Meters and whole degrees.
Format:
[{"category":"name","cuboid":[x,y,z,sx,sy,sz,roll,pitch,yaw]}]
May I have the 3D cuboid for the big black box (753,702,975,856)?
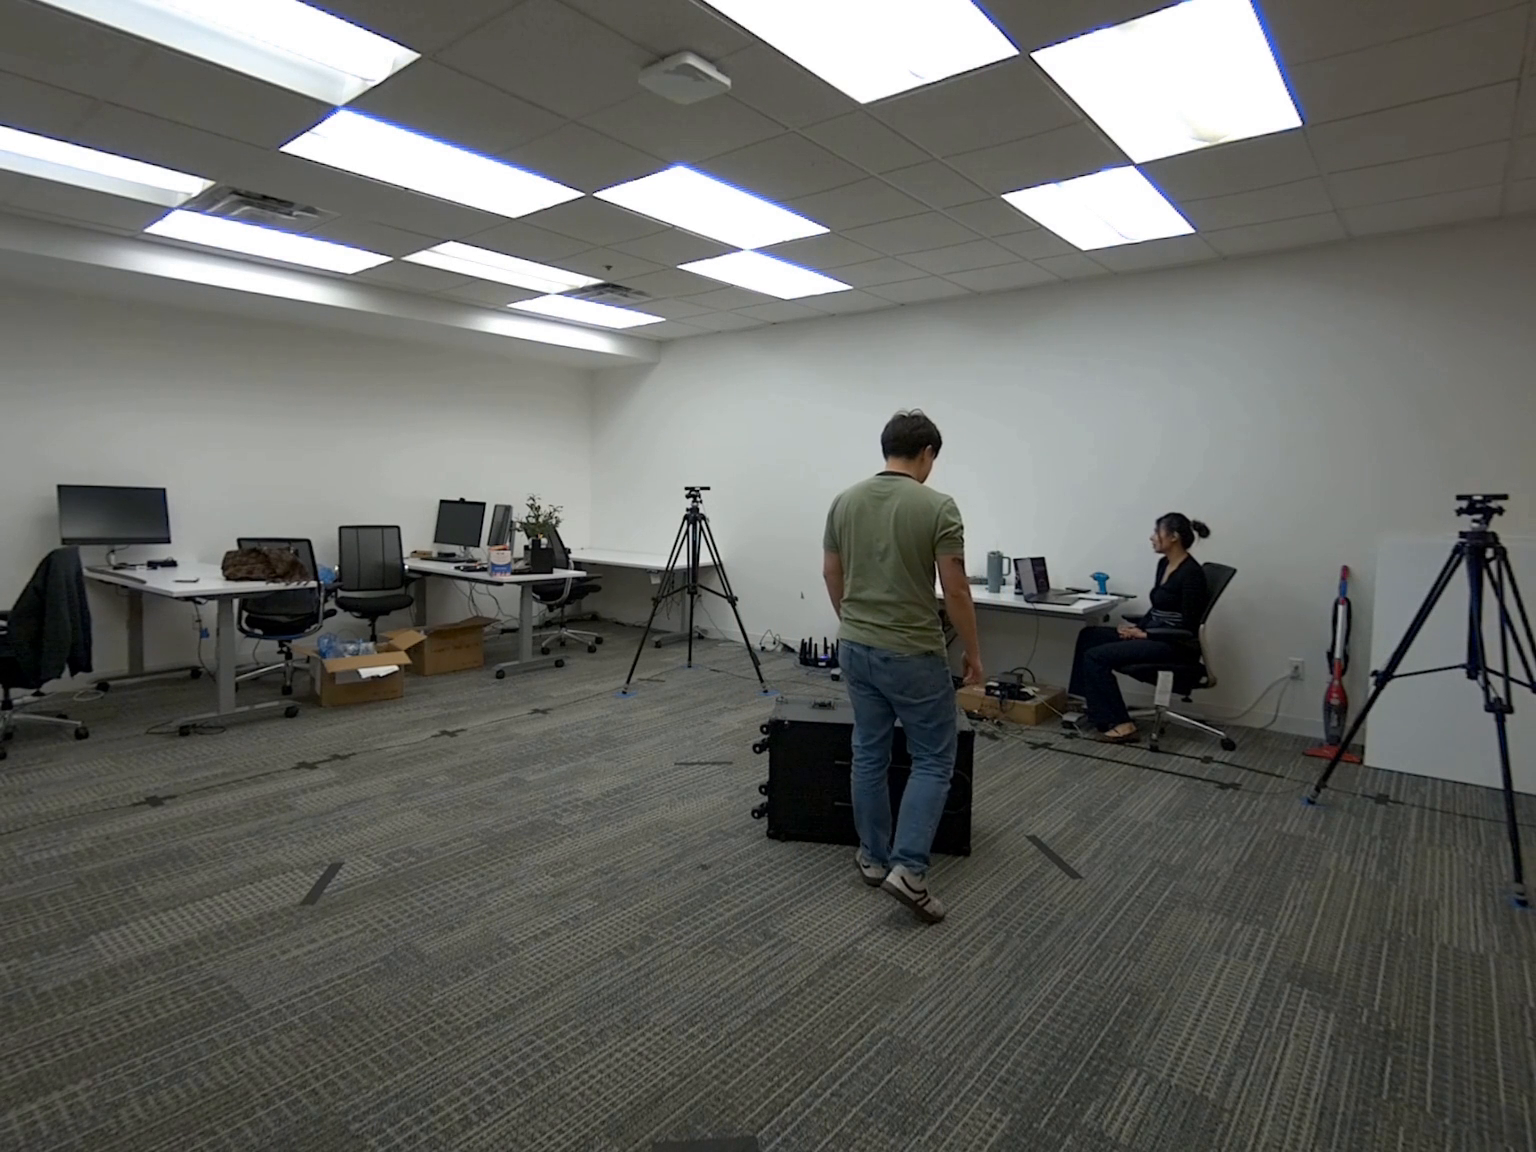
[{"category":"big black box","cuboid":[0.424,0.790,3.457,0.869,0.519,0.394,1,4,8]}]
